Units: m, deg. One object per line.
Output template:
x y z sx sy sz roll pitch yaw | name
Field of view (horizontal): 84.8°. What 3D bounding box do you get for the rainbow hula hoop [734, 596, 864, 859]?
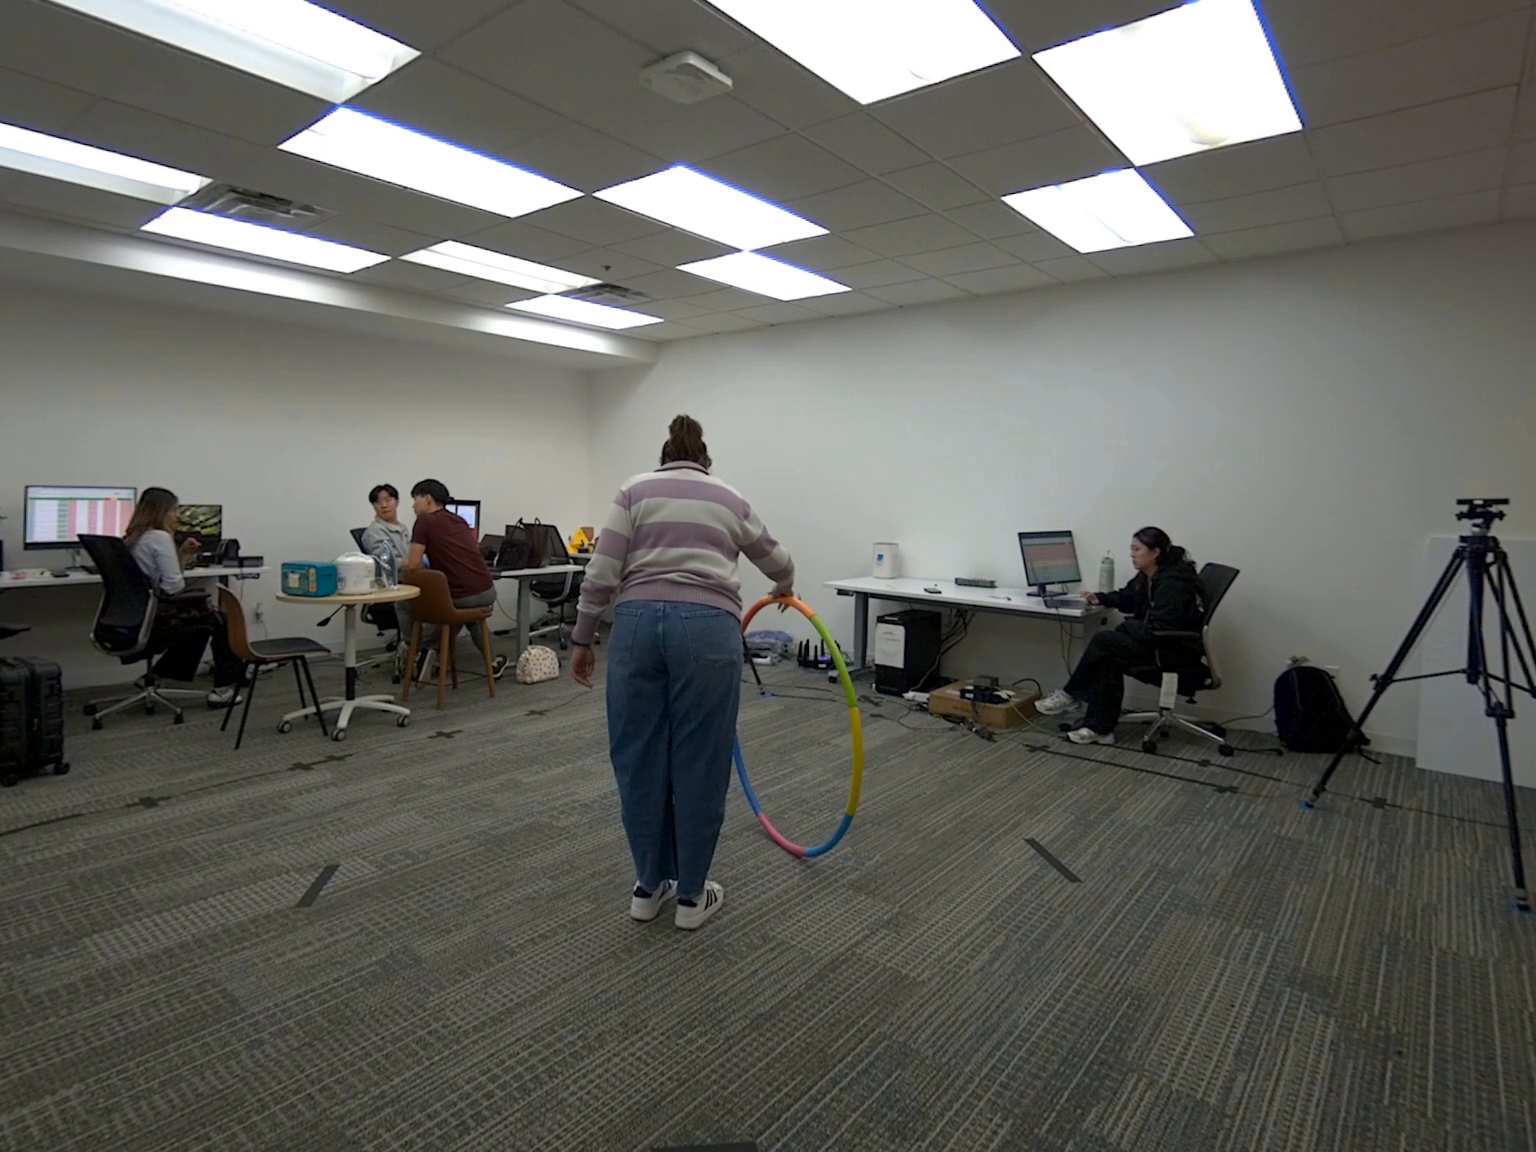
0.057 0.560 3.292 0.034 0.975 1.007 -2 5 -28 | rainbow hula hoop
